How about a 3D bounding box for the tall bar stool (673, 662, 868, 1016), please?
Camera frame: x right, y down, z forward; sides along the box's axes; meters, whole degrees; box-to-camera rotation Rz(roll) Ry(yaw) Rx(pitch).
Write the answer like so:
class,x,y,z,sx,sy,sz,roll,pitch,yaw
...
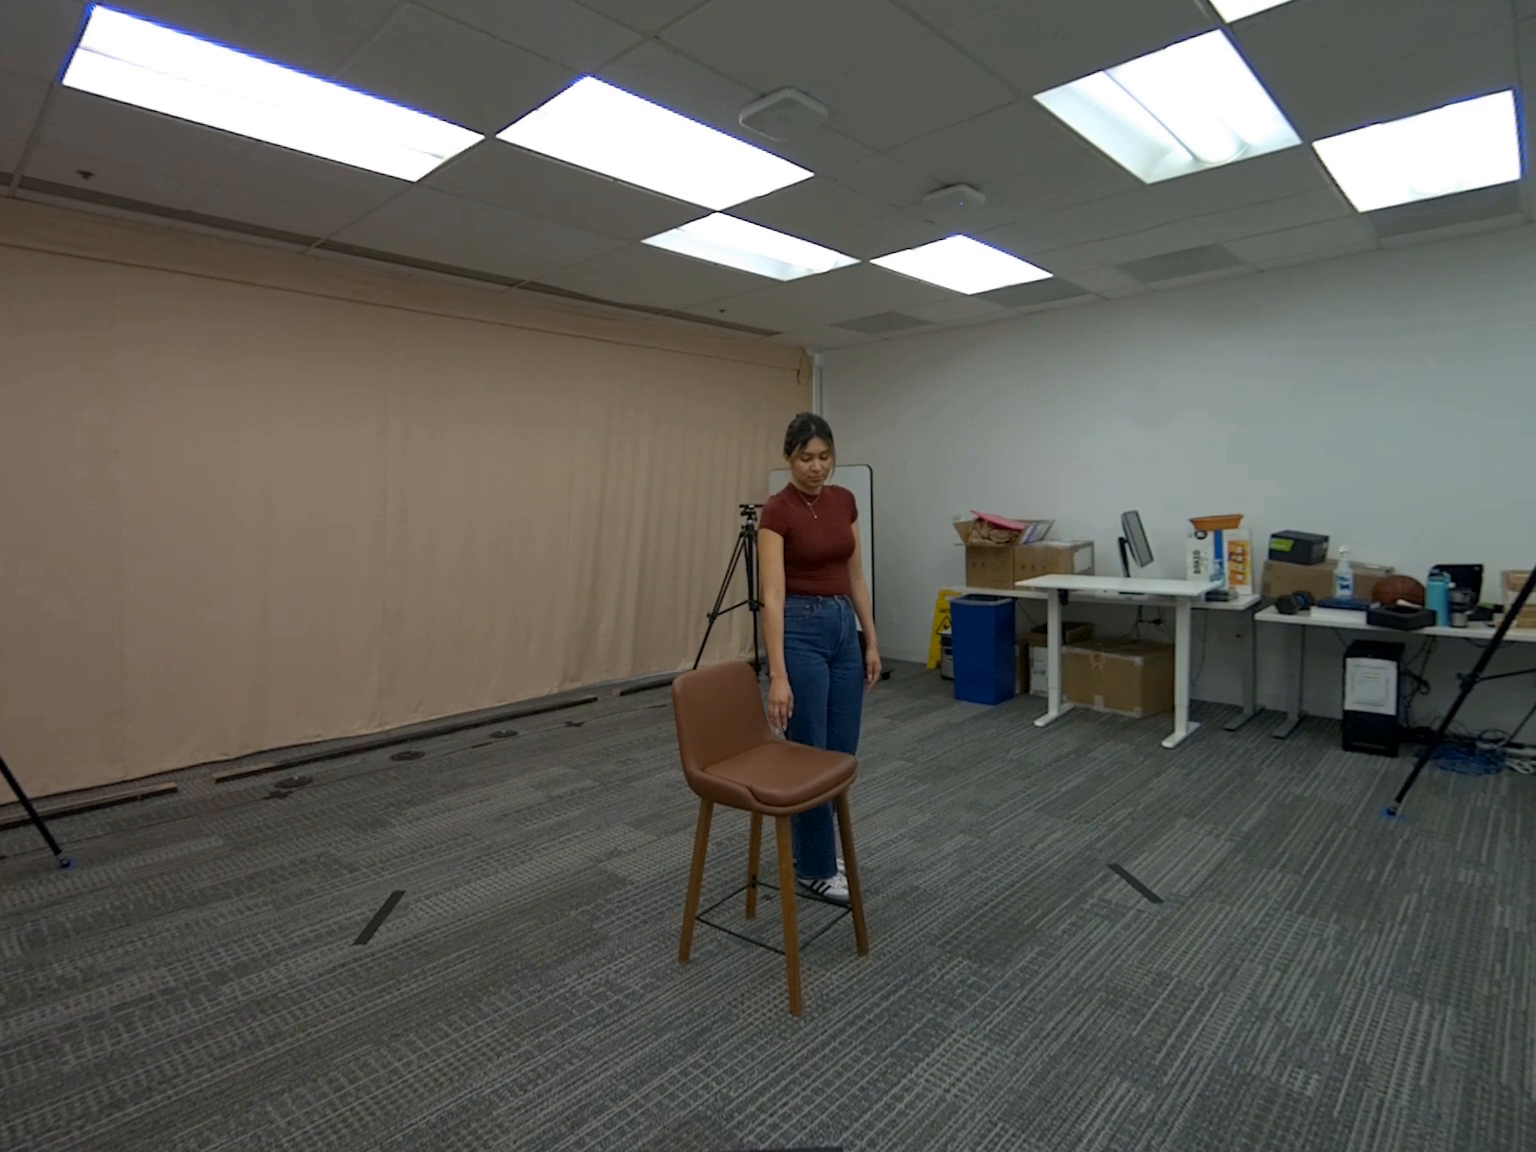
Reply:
class,x,y,z,sx,sy,sz,roll,pitch,yaw
tall bar stool,0.003,0.743,2.557,0.482,0.888,0.443,0,3,38
